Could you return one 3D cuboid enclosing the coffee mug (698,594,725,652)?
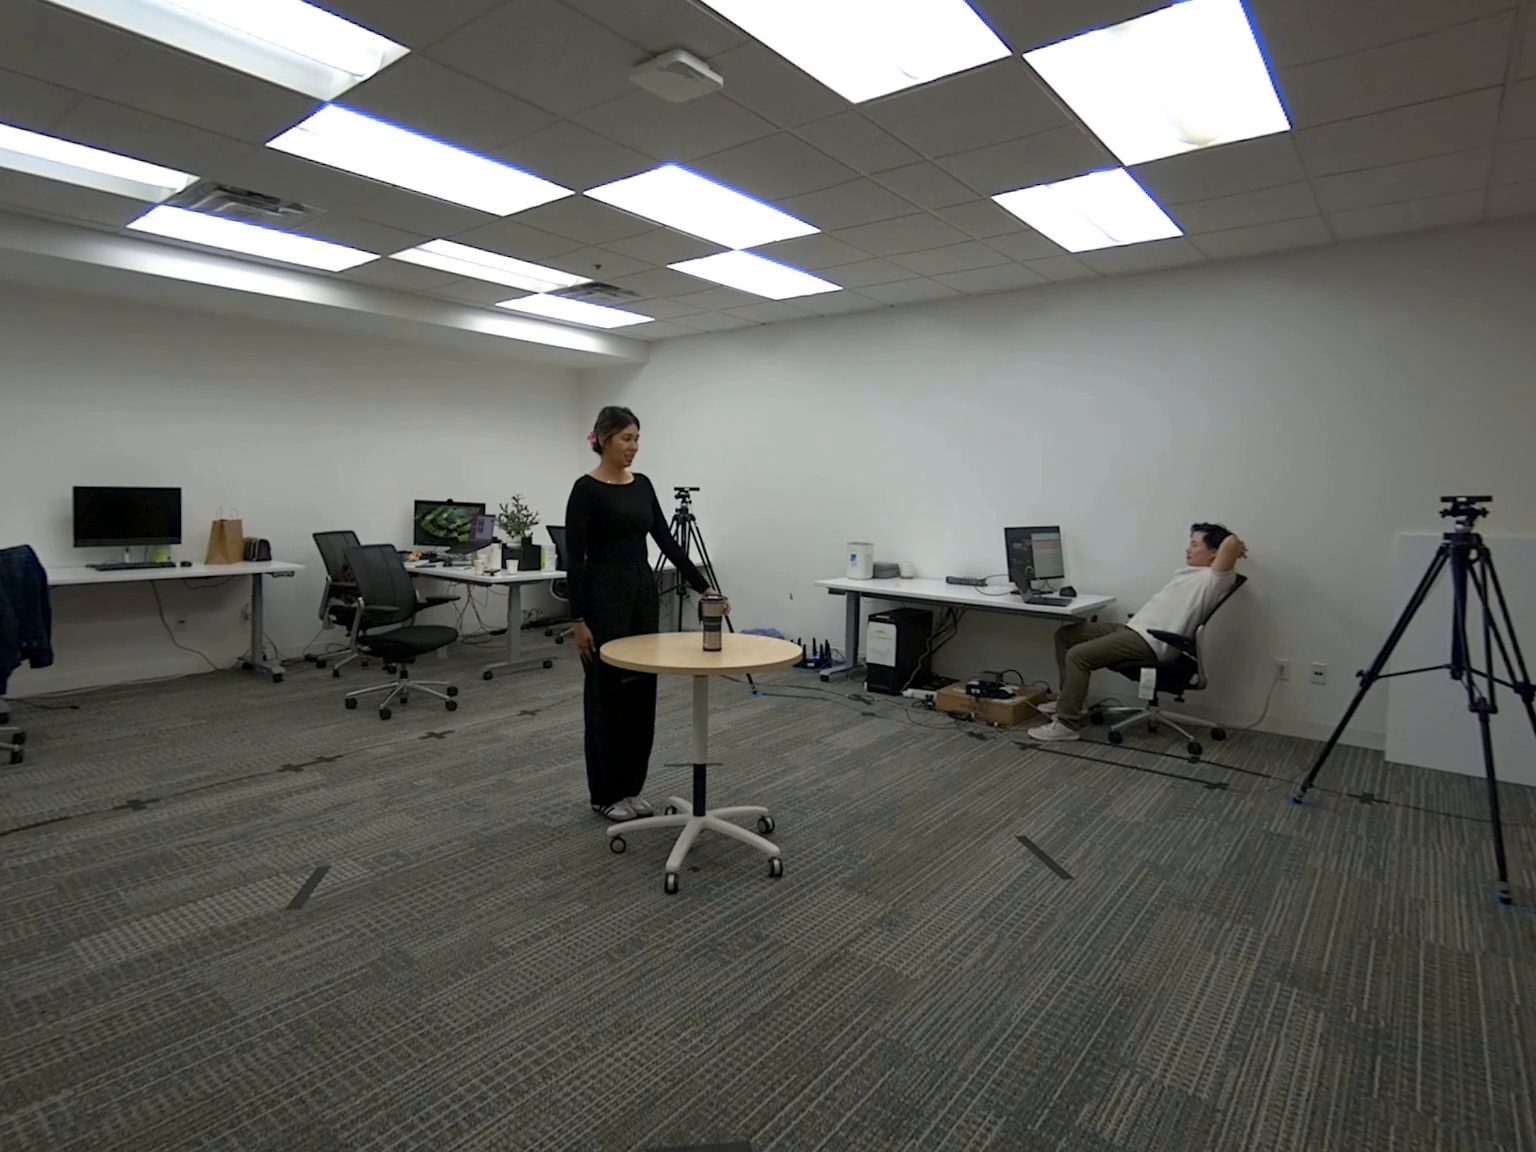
[{"bbox_3d":[-0.211,0.177,3.199,0.089,0.203,0.120,-4,1,18],"label":"coffee mug"}]
